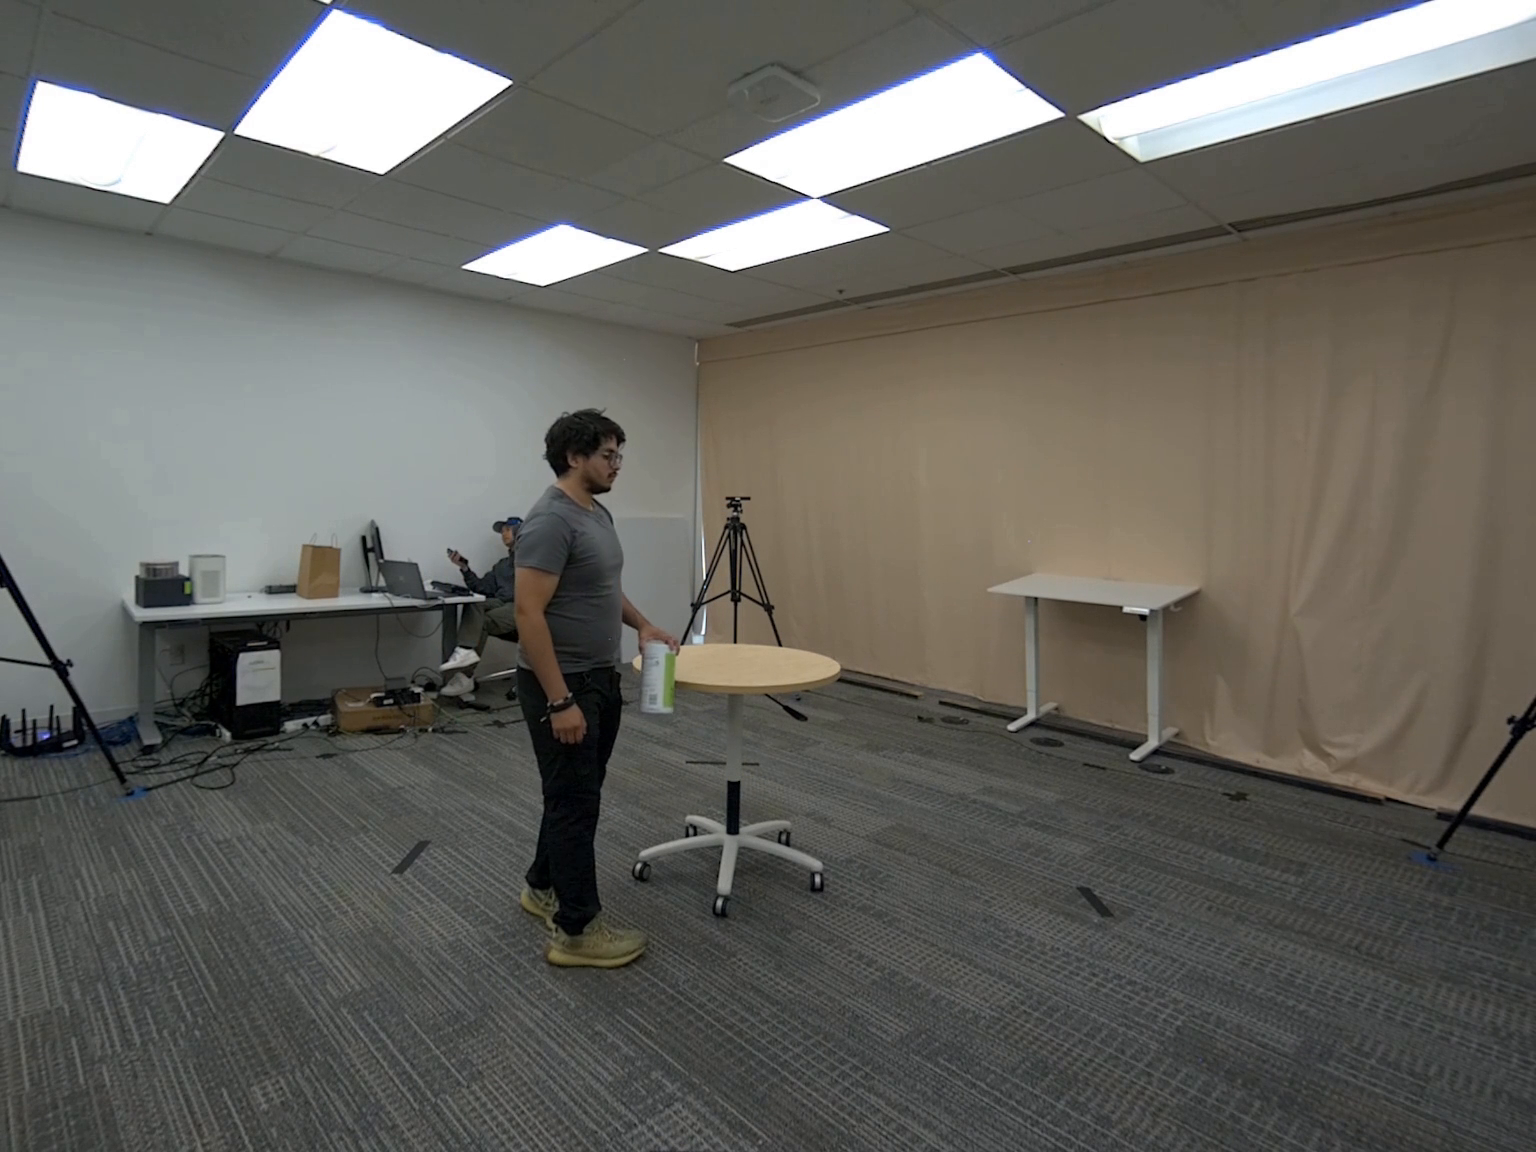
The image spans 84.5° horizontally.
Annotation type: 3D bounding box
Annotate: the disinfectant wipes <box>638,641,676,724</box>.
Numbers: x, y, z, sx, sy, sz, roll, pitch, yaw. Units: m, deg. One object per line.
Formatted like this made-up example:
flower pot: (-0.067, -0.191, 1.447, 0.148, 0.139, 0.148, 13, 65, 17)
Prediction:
disinfectant wipes: (-0.352, 0.324, 2.652, 0.118, 0.219, 0.117, 1, -10, -1)
